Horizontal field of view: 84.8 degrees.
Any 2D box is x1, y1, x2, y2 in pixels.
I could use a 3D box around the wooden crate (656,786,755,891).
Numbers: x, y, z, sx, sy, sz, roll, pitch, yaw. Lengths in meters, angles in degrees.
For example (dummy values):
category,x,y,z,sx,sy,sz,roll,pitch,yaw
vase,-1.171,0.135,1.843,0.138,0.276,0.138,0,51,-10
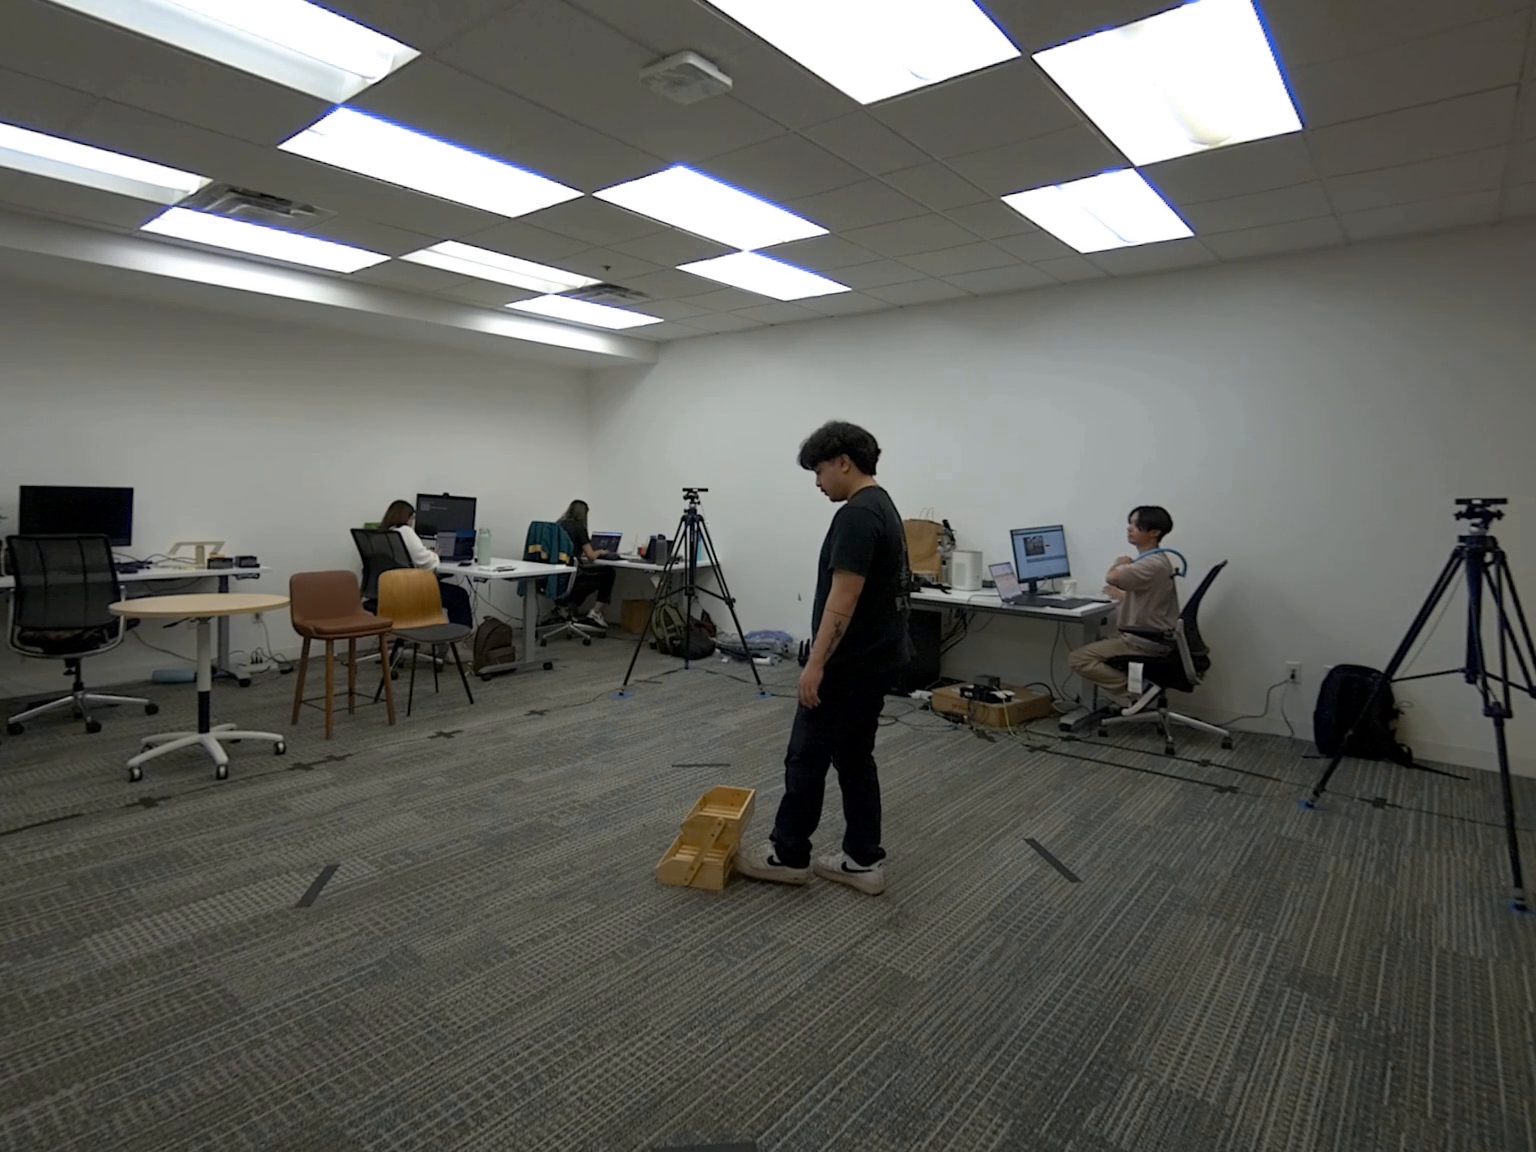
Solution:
category,x,y,z,sx,sy,sz,roll,pitch,yaw
wooden crate,-0.239,0.938,3.104,0.306,0.272,0.321,2,5,11
